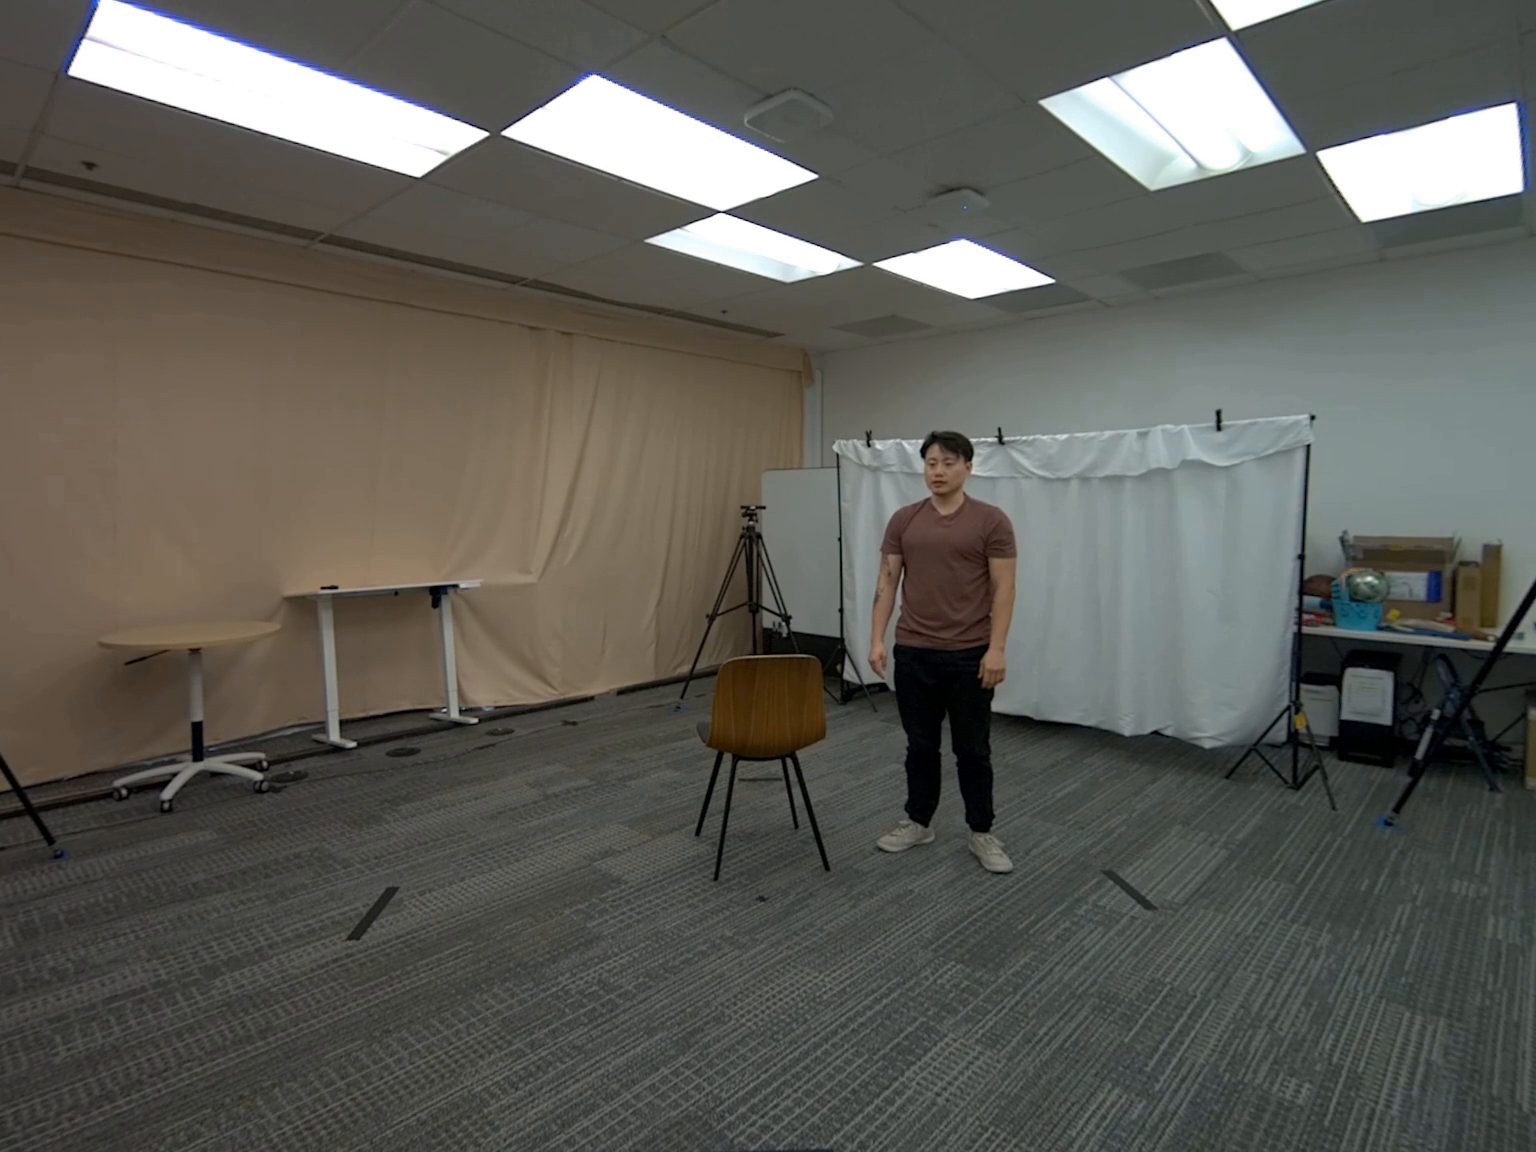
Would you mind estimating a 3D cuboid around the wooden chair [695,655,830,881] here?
[{"bbox_3d":[-0.037,0.687,3.362,0.472,0.873,0.532,-1,7,-12],"label":"wooden chair"}]
